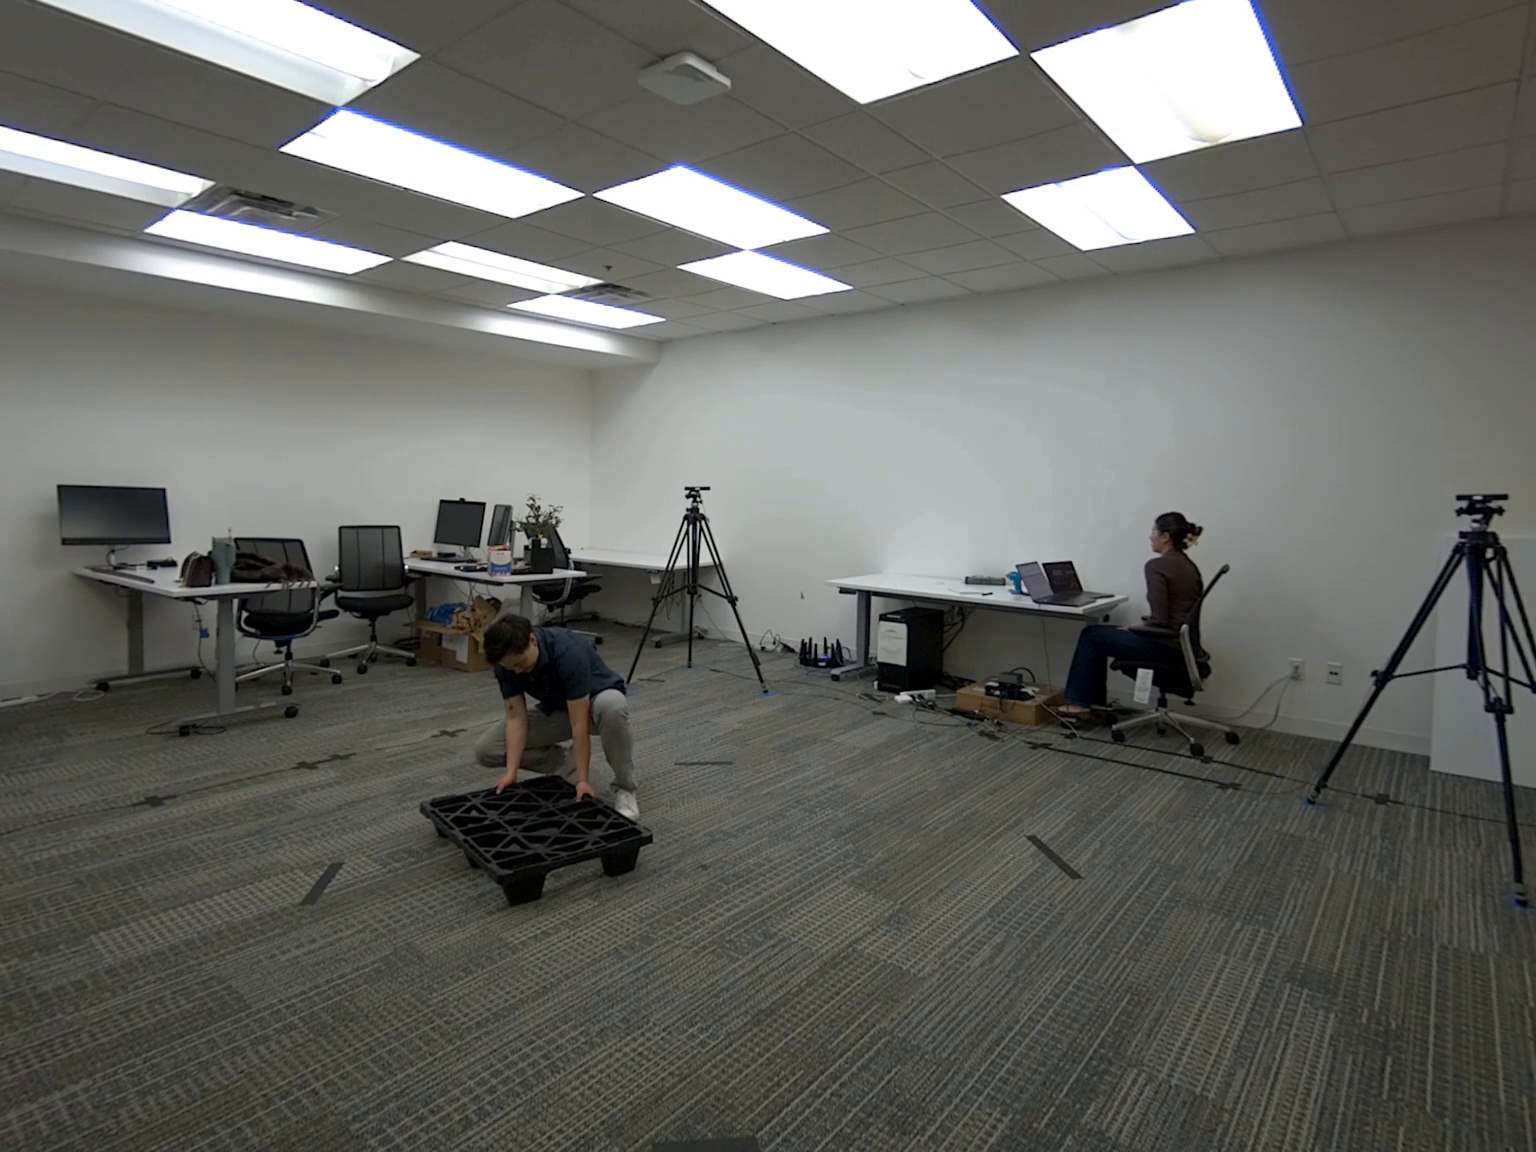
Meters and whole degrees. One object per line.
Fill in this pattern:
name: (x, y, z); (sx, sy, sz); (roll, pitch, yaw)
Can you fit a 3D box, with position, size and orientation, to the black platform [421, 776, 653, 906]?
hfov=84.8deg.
black platform: (-0.912, 0.978, 3.225); (0.587, 0.143, 0.833); (-5, 7, -39)
